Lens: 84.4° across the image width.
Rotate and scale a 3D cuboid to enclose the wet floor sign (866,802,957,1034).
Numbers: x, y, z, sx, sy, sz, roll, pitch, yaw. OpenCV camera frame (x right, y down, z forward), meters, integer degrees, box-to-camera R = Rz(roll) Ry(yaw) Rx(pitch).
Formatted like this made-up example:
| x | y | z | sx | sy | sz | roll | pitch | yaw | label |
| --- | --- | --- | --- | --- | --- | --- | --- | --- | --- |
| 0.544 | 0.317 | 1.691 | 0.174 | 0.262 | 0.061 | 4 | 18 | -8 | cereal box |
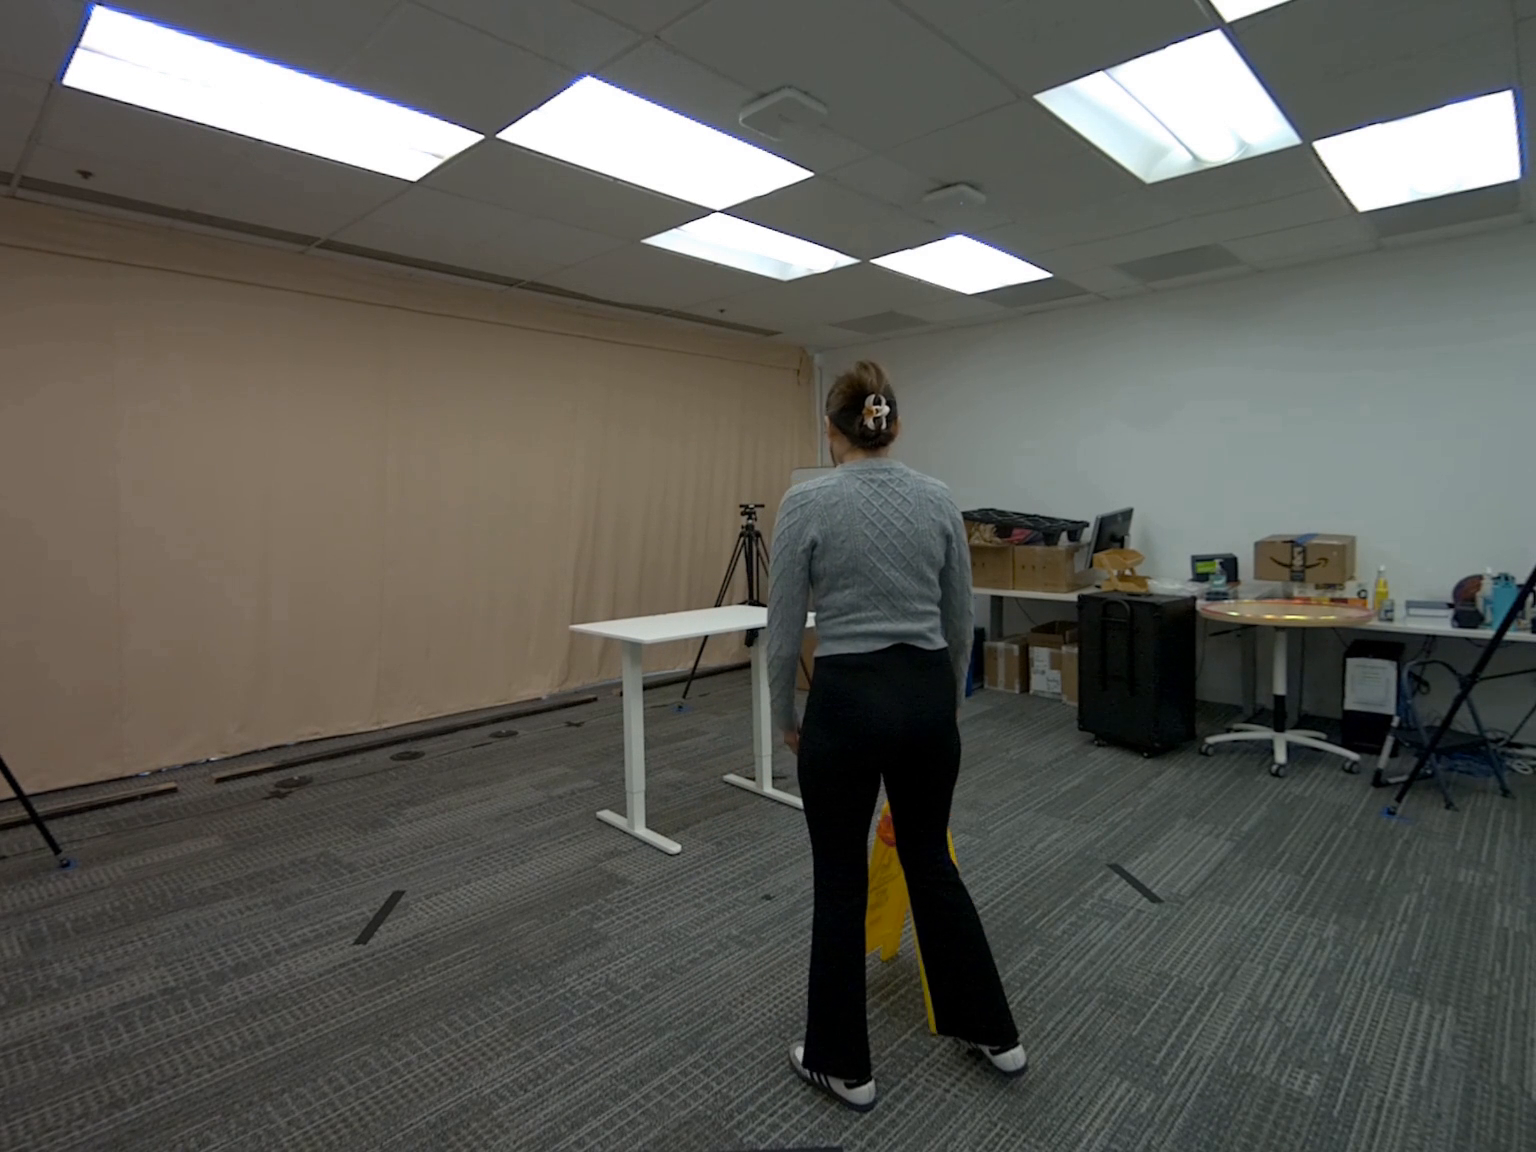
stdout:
| x | y | z | sx | sy | sz | roll | pitch | yaw | label |
| --- | --- | --- | --- | --- | --- | --- | --- | --- | --- |
| 0.412 | 0.864 | 2.386 | 0.299 | 0.645 | 0.273 | 2 | 4 | 44 | wet floor sign |
